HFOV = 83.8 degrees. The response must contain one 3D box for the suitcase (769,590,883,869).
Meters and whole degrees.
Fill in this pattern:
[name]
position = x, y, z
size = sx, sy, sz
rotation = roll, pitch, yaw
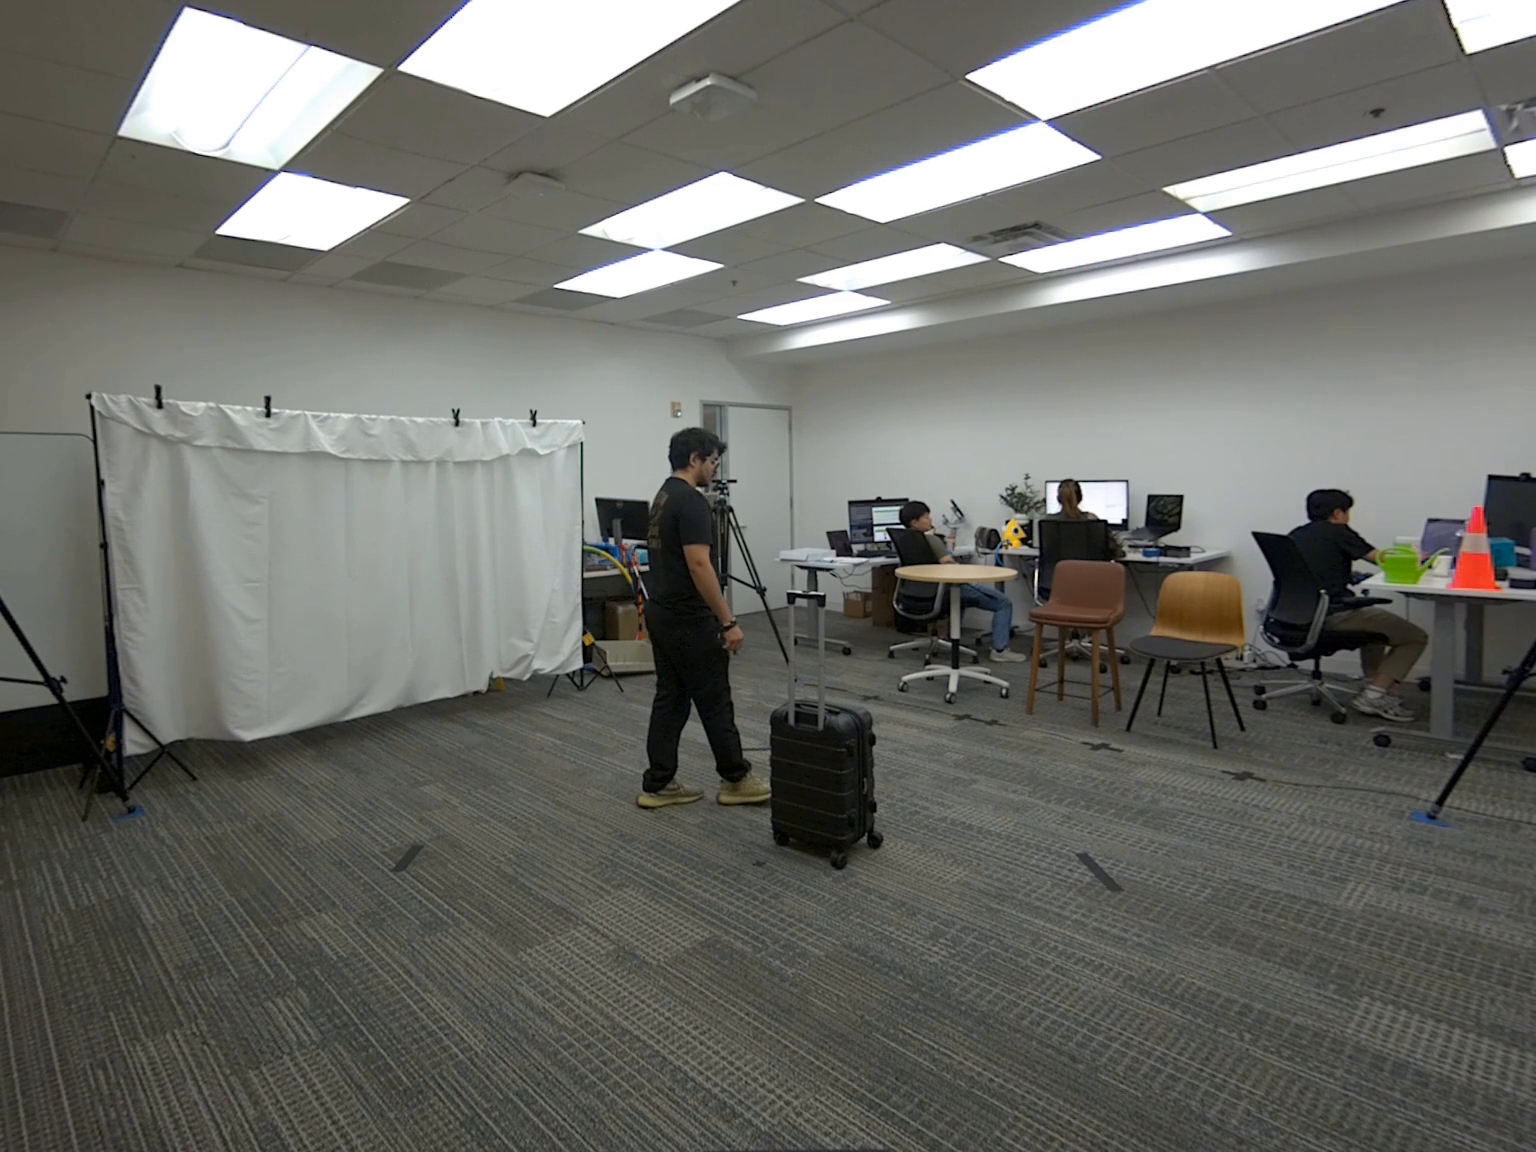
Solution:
[suitcase]
position = 0.207, 0.551, 3.237
size = 0.395, 0.977, 0.250
rotation = 1, 2, 37
